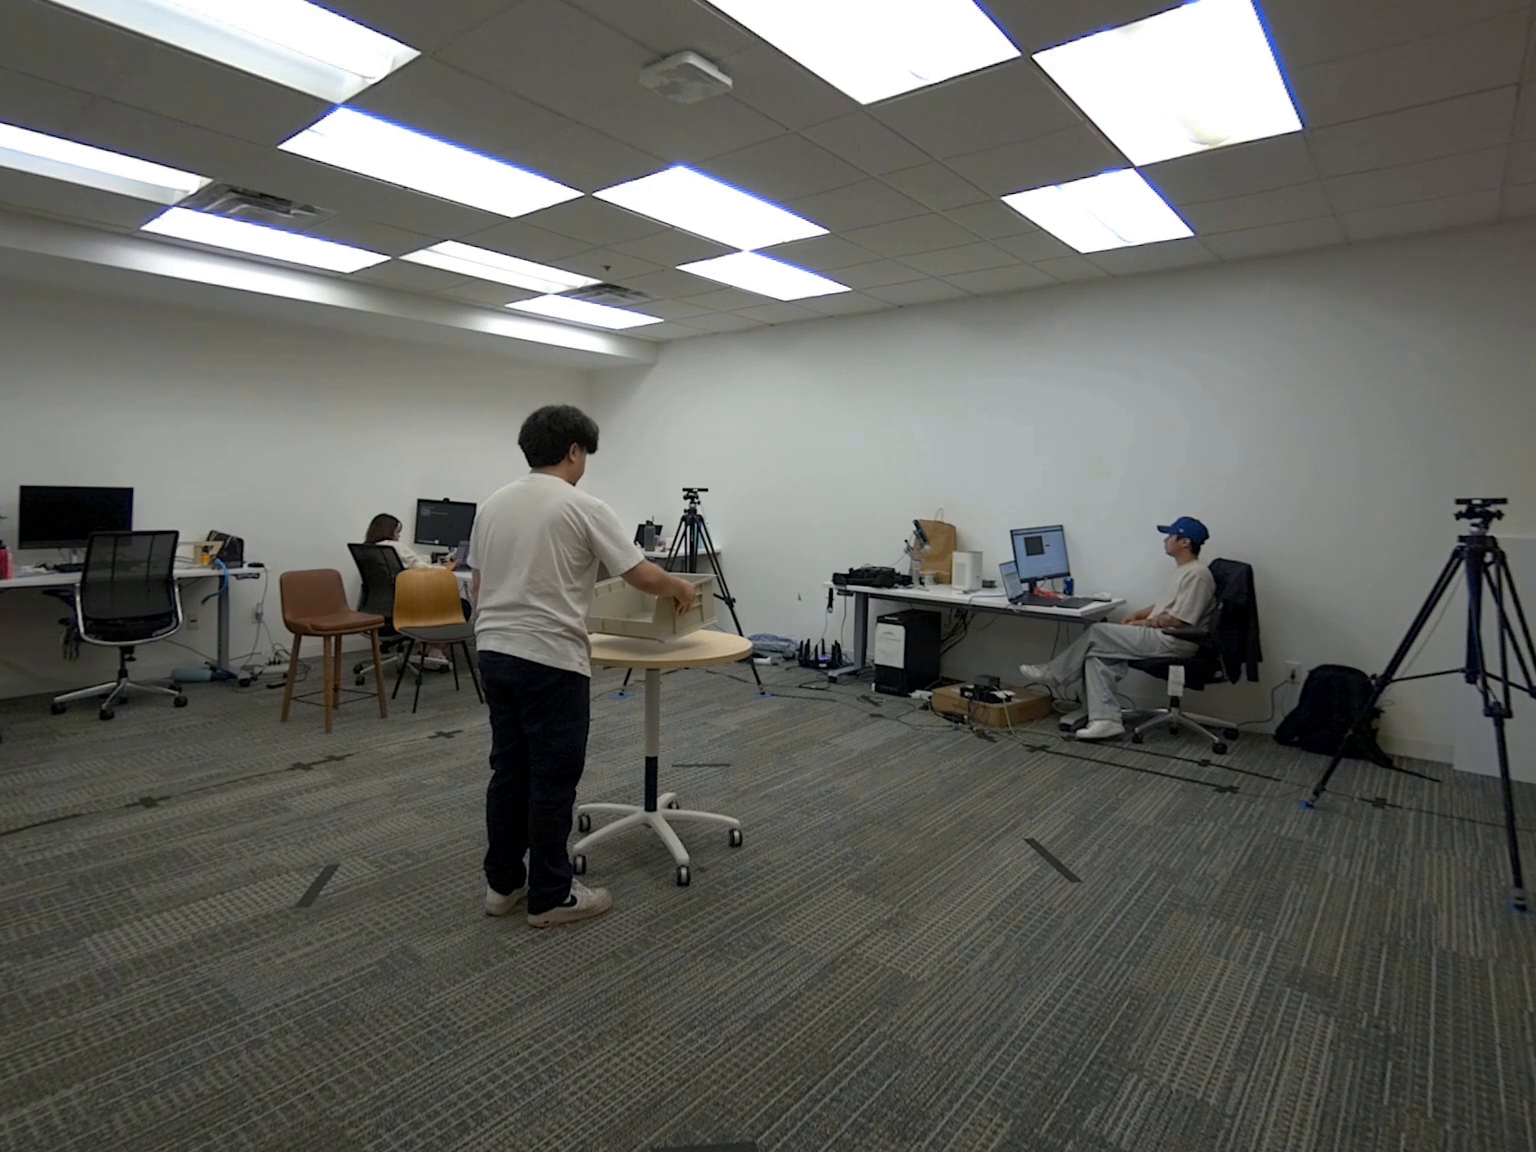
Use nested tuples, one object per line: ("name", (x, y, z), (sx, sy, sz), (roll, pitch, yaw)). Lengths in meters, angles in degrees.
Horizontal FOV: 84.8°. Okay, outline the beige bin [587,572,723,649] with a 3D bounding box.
("beige bin", (-0.468, 0.118, 3.216), (0.435, 0.187, 0.369), (0, 12, 36))
